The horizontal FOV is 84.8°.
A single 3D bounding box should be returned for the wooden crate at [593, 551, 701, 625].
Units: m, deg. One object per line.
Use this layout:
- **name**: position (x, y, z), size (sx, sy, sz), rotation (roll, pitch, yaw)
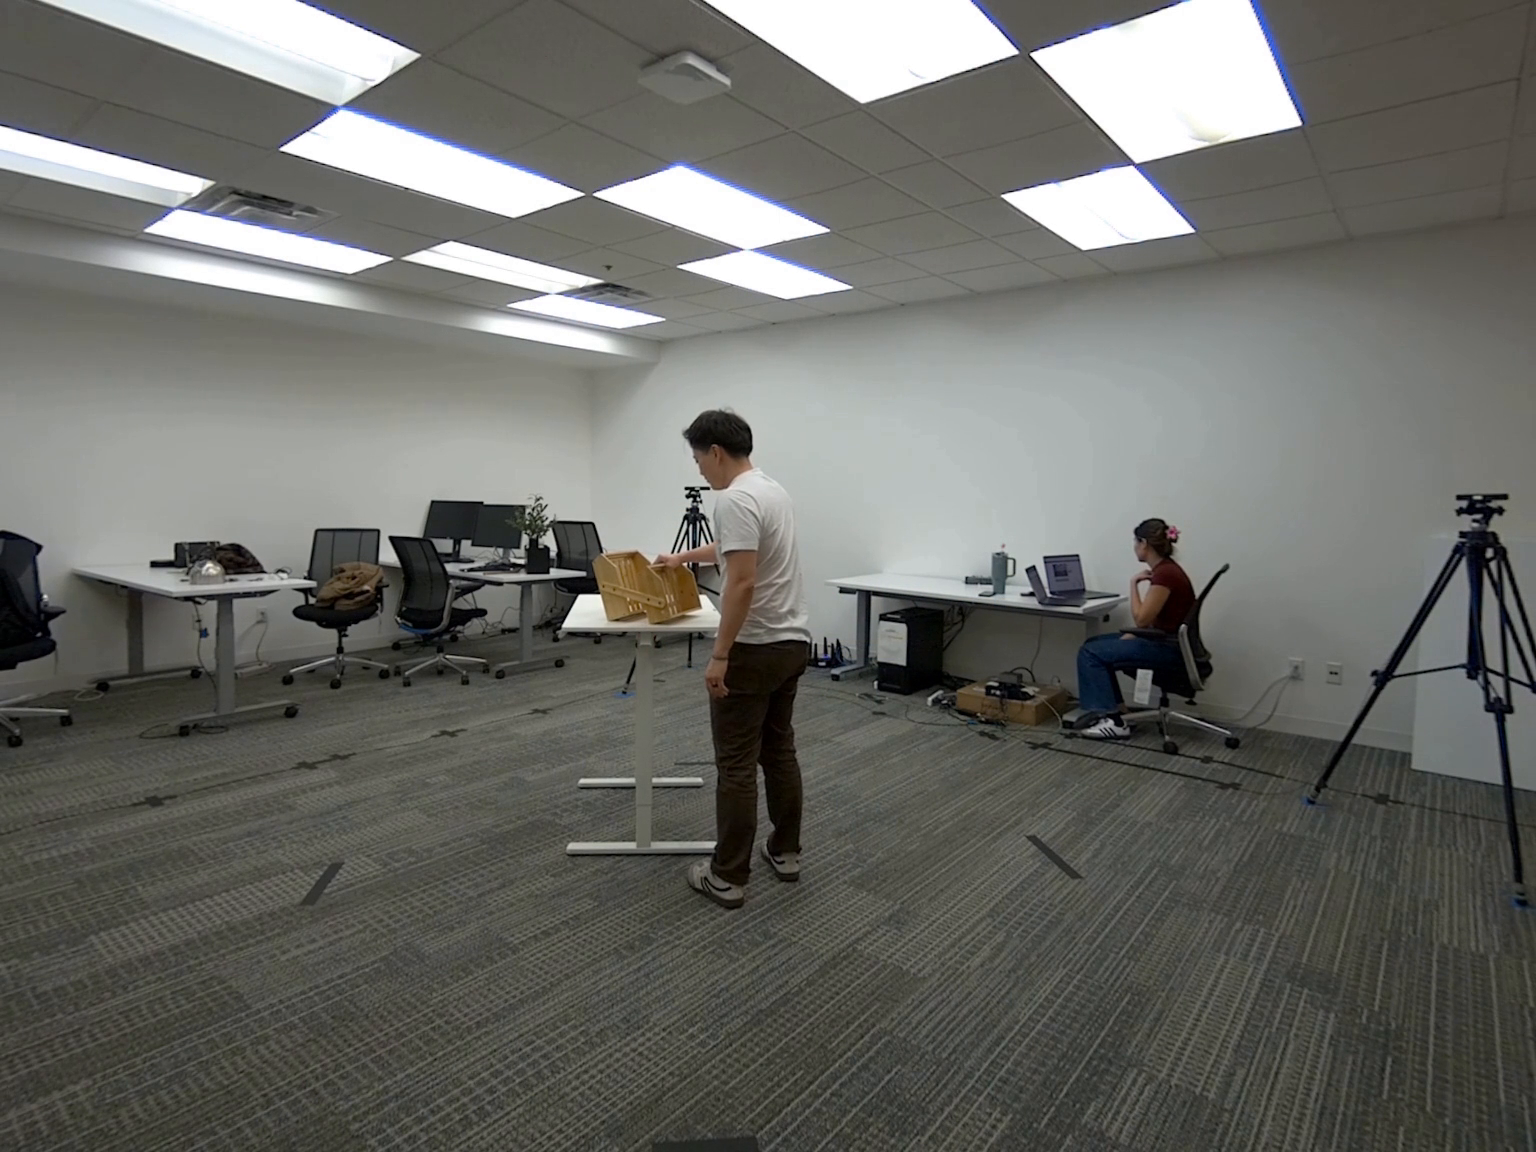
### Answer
- **wooden crate**: position (-0.472, 0.026, 3.300), size (0.277, 0.303, 0.319), rotation (-16, -2, 20)
